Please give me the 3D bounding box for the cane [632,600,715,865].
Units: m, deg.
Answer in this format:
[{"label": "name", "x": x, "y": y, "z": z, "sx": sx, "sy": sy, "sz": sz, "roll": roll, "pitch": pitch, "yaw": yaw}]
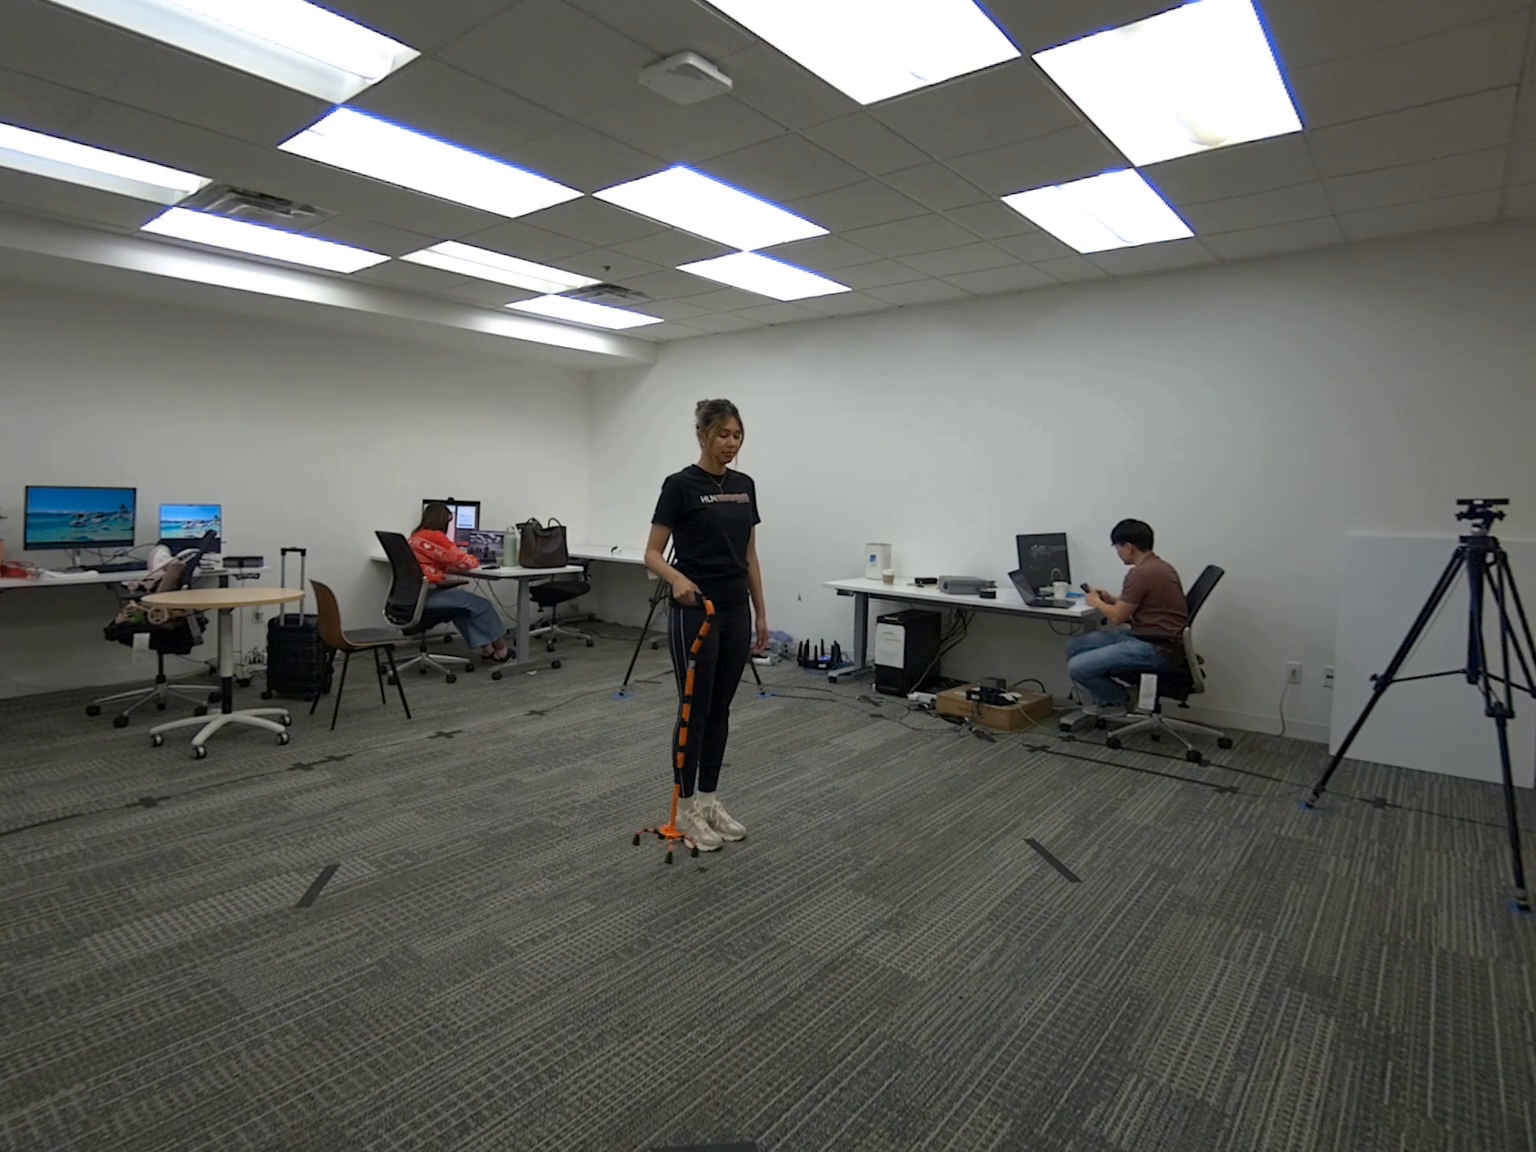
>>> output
[{"label": "cane", "x": -0.309, "y": 0.508, "z": 2.987, "sx": 0.214, "sy": 0.907, "sz": 0.146, "roll": 8, "pitch": 1, "yaw": 43}]
